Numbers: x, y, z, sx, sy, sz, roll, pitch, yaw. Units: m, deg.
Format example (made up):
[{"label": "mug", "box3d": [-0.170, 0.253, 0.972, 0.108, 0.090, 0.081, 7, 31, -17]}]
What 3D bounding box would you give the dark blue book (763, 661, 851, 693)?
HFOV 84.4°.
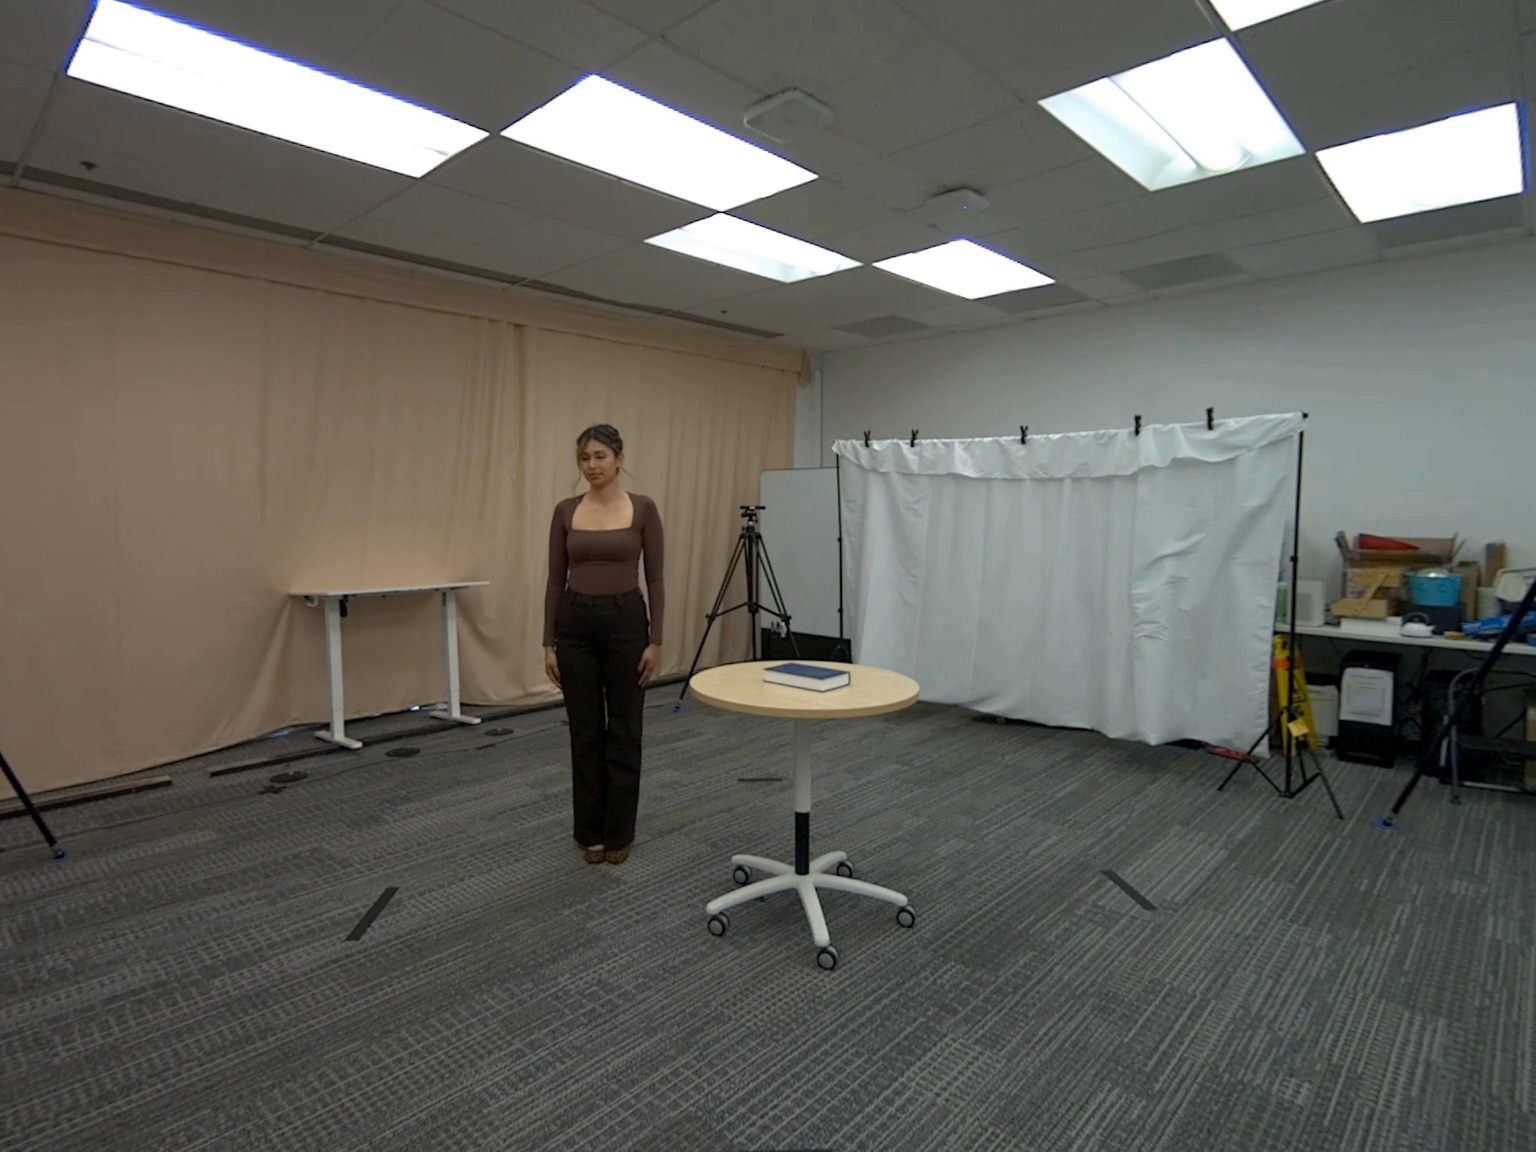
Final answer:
[{"label": "dark blue book", "box3d": [0.133, 0.339, 2.816, 0.253, 0.045, 0.158, 5, 7, 40]}]
